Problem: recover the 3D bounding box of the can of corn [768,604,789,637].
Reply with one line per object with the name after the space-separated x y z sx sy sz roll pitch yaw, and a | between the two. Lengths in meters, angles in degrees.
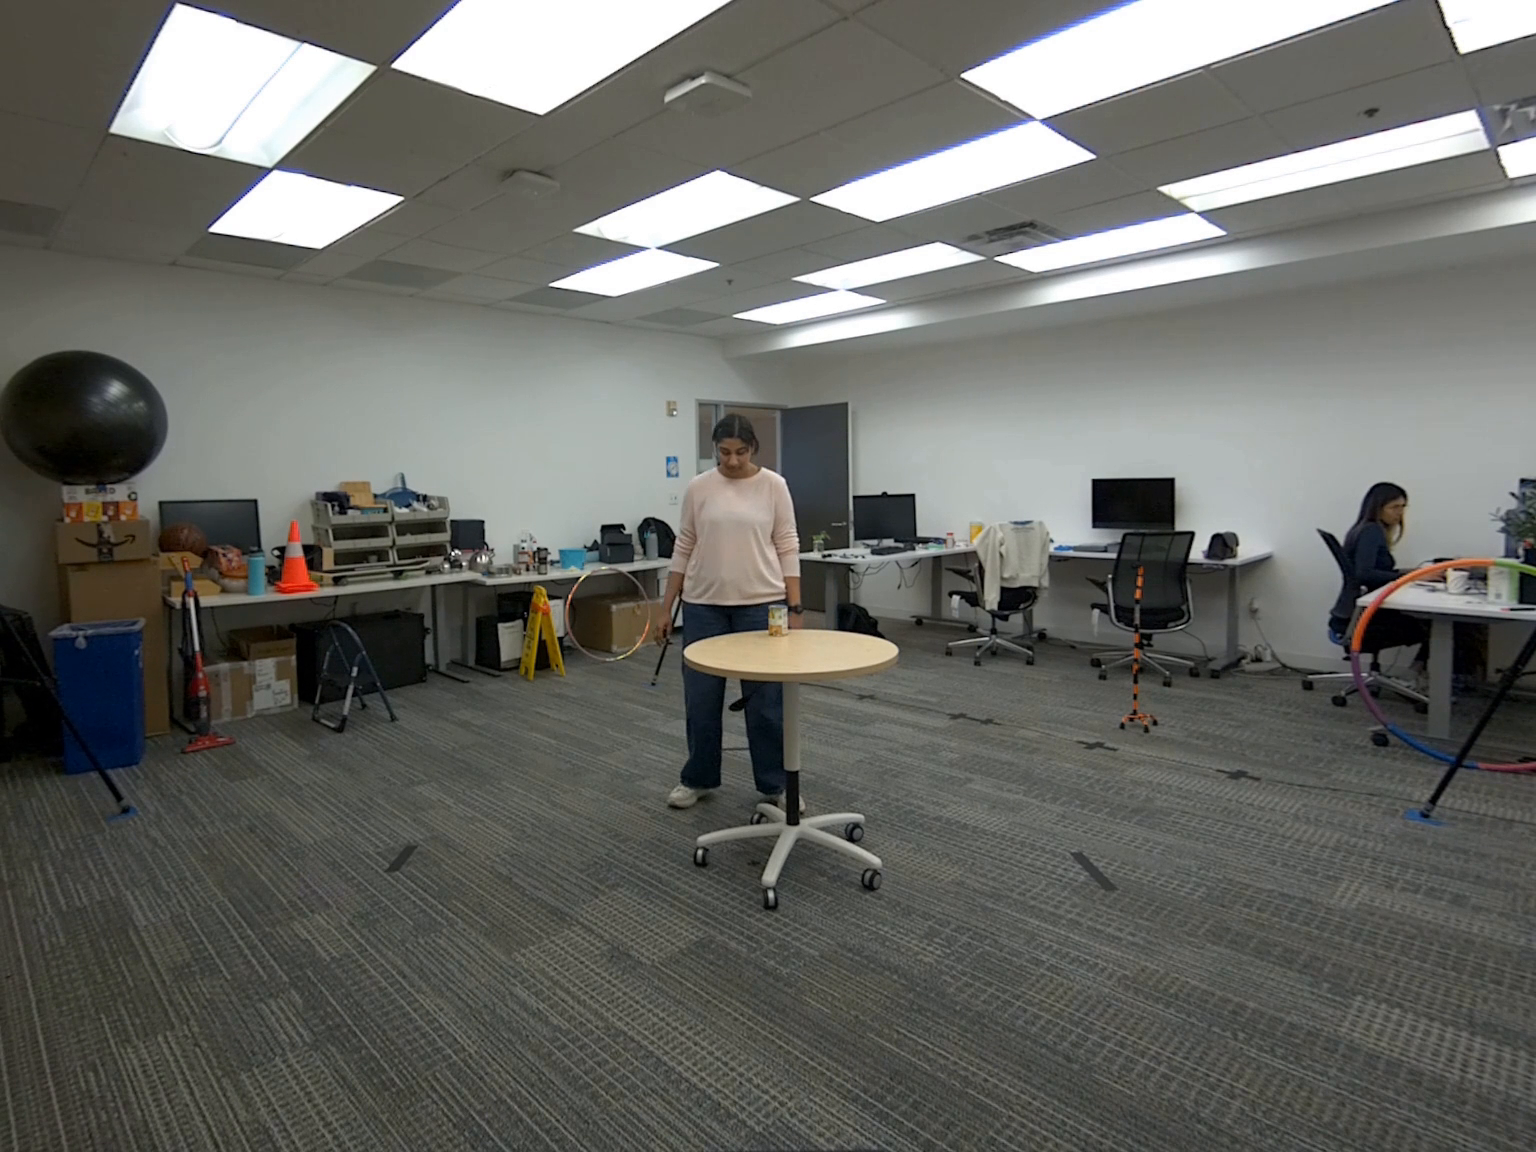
0.040 0.180 3.344 0.074 0.111 0.074 -1 2 -2 | can of corn
